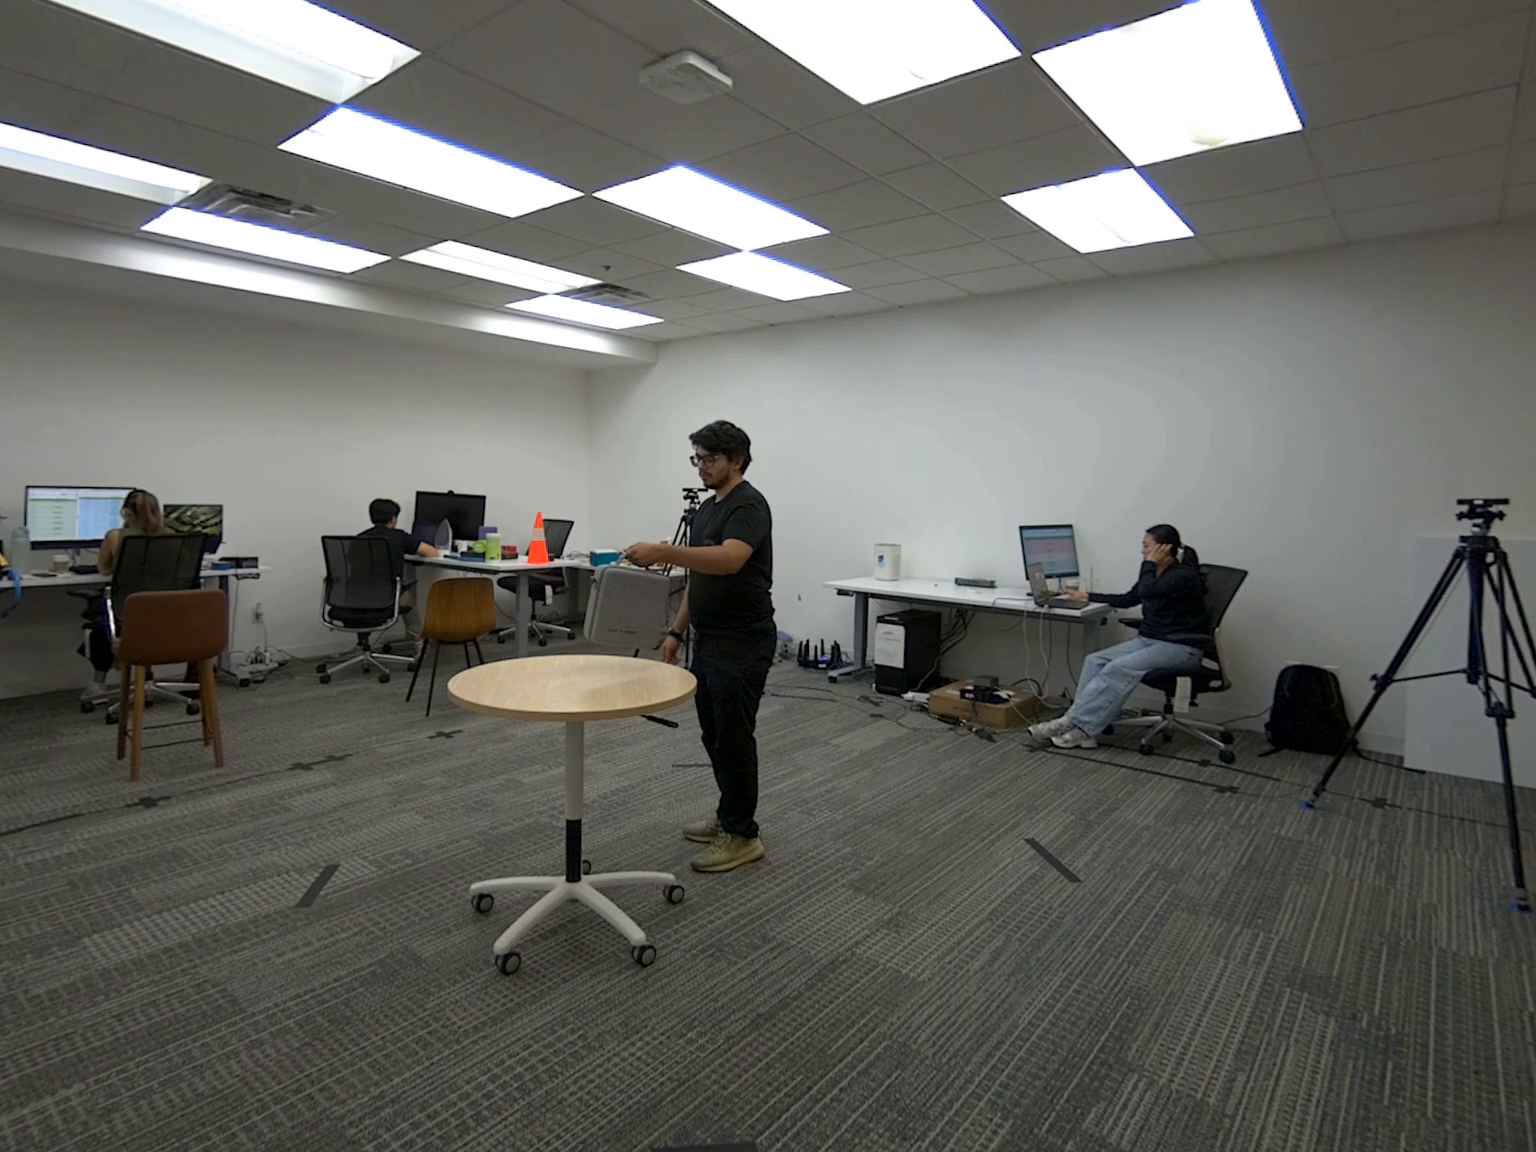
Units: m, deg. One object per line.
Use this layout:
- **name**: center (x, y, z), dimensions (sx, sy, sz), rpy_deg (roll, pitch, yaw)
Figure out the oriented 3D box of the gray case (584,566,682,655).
- **gray case**: center (-0.473, 0.096, 2.808), dimensions (0.248, 0.260, 0.108), rpy_deg (9, 3, -33)
